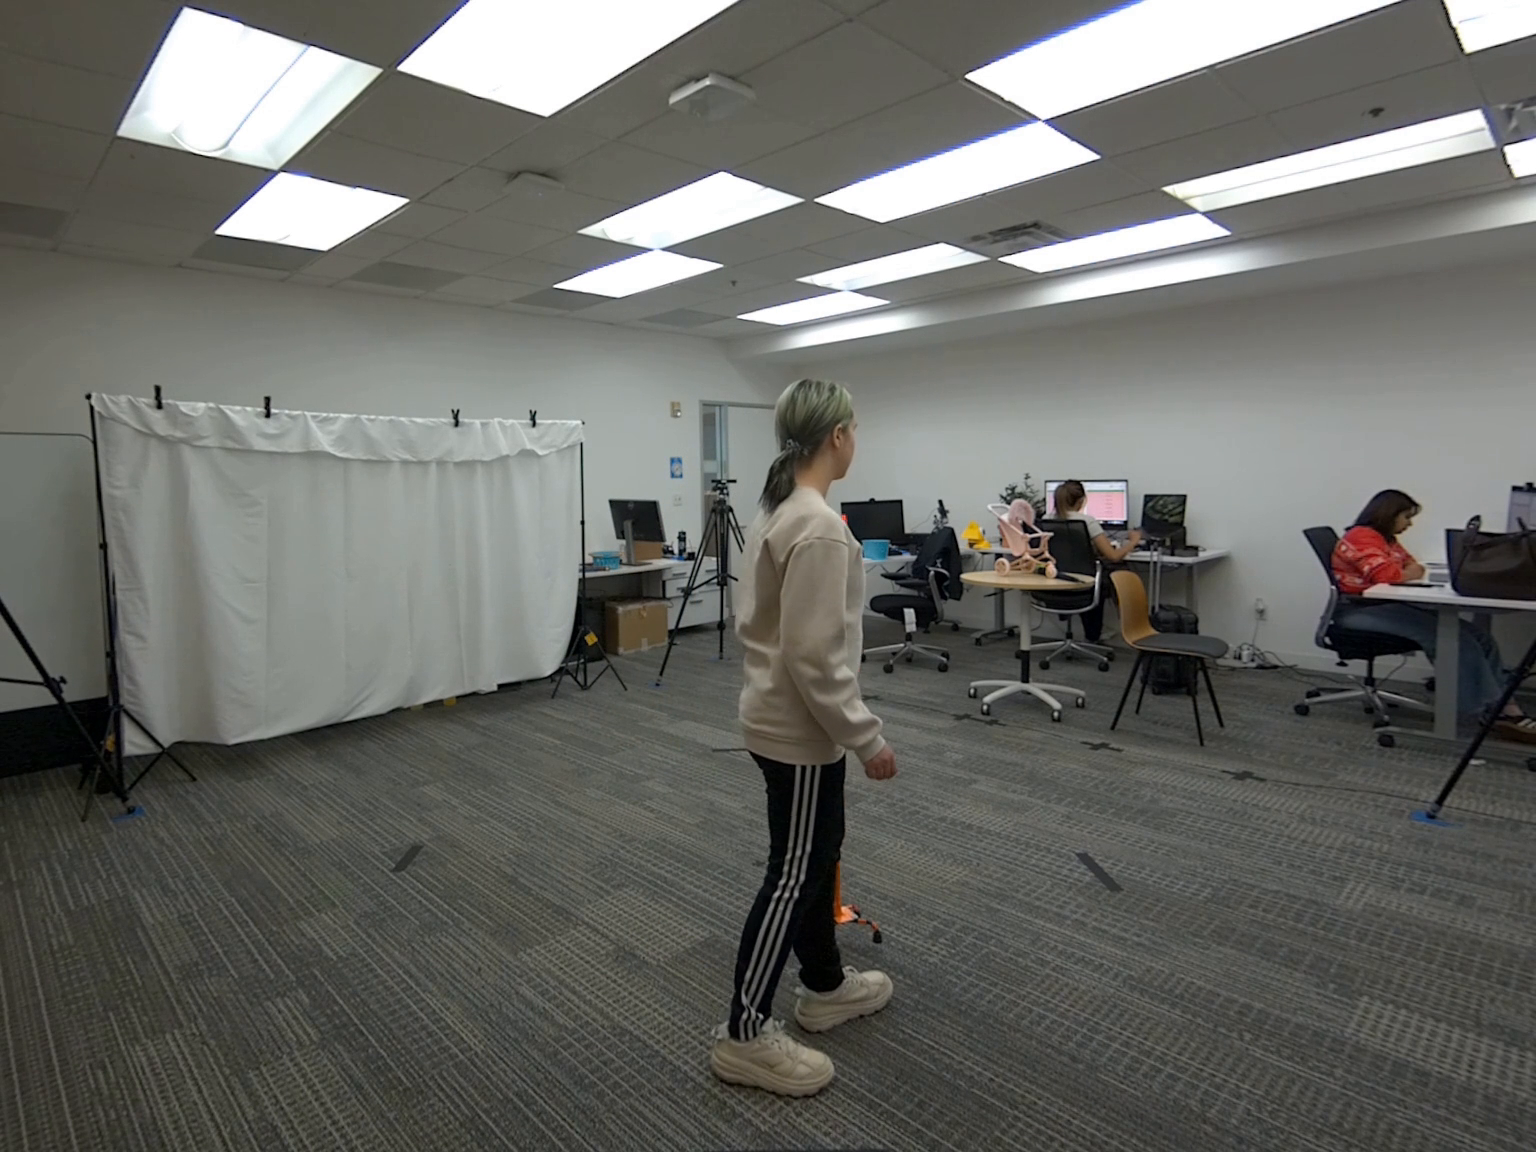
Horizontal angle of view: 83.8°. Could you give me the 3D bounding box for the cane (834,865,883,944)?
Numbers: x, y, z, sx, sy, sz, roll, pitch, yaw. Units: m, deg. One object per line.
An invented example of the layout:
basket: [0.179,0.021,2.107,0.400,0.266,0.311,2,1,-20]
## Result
cane: [0.210,0.636,2.506,0.202,0.904,0.155,-5,4,-23]
